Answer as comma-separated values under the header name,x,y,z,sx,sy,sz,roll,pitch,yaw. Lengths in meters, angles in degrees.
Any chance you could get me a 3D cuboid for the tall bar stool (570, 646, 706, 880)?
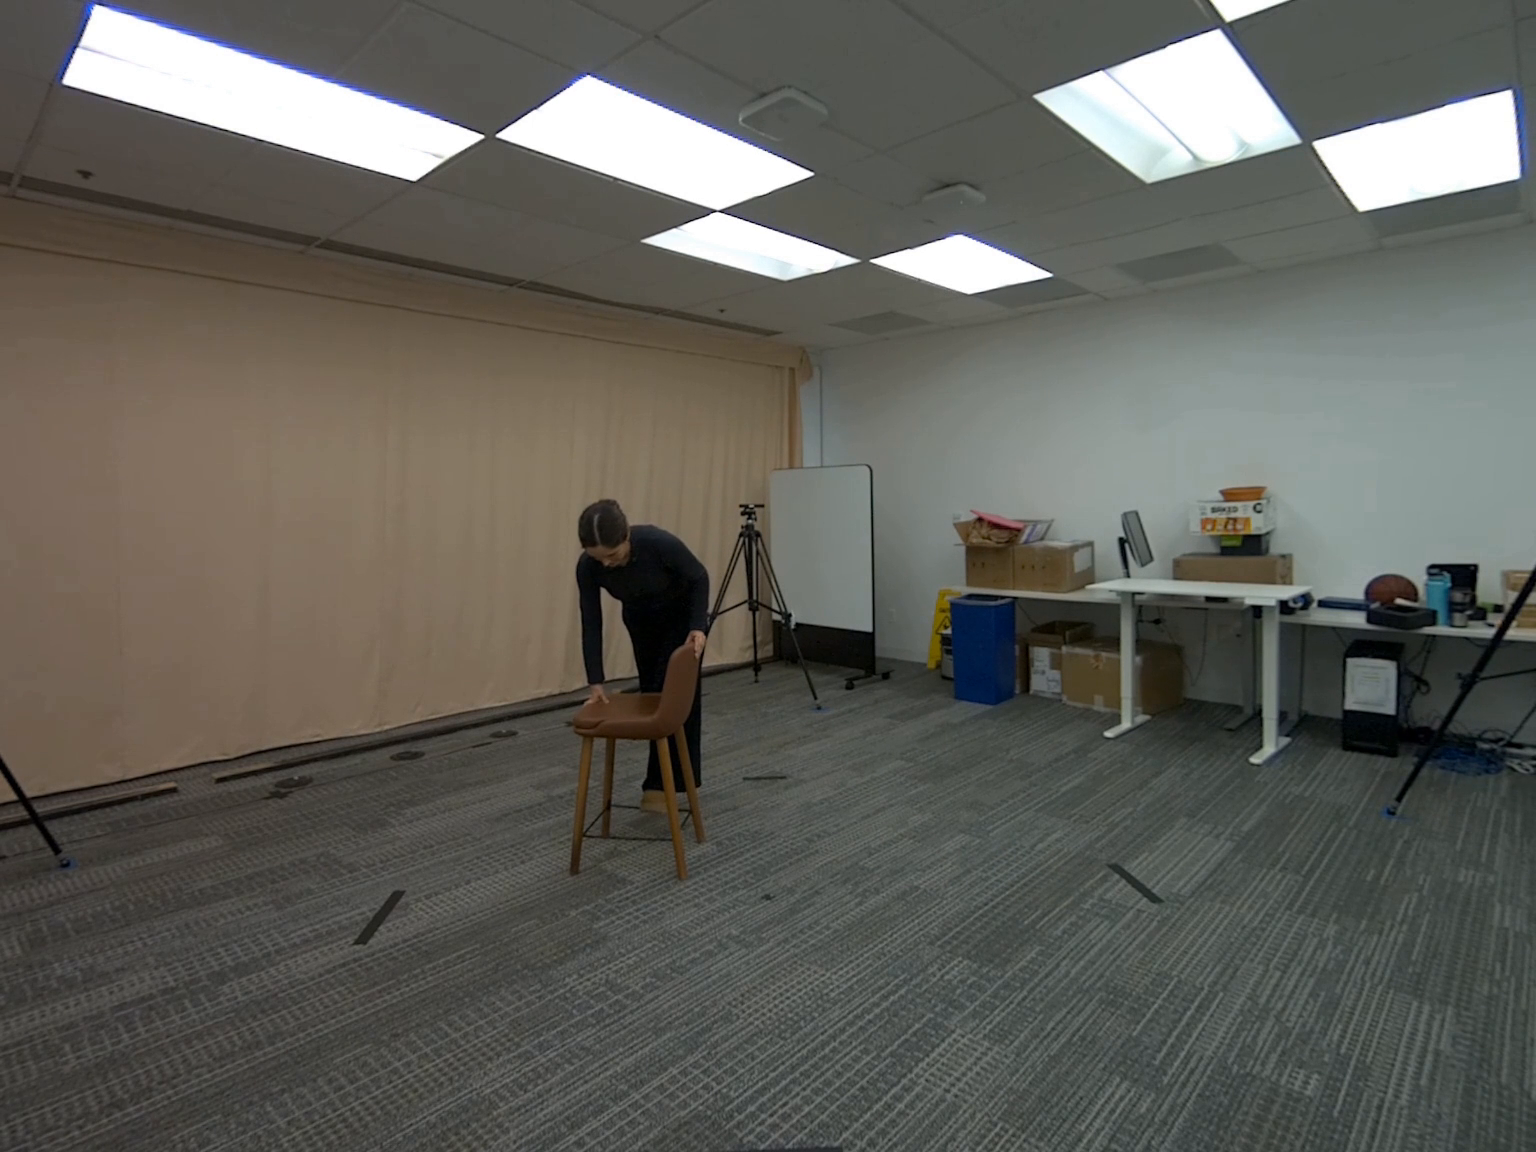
name,x,y,z,sx,sy,sz,roll,pitch,yaw
tall bar stool,-0.510,0.684,3.336,0.473,0.888,0.452,1,3,9
